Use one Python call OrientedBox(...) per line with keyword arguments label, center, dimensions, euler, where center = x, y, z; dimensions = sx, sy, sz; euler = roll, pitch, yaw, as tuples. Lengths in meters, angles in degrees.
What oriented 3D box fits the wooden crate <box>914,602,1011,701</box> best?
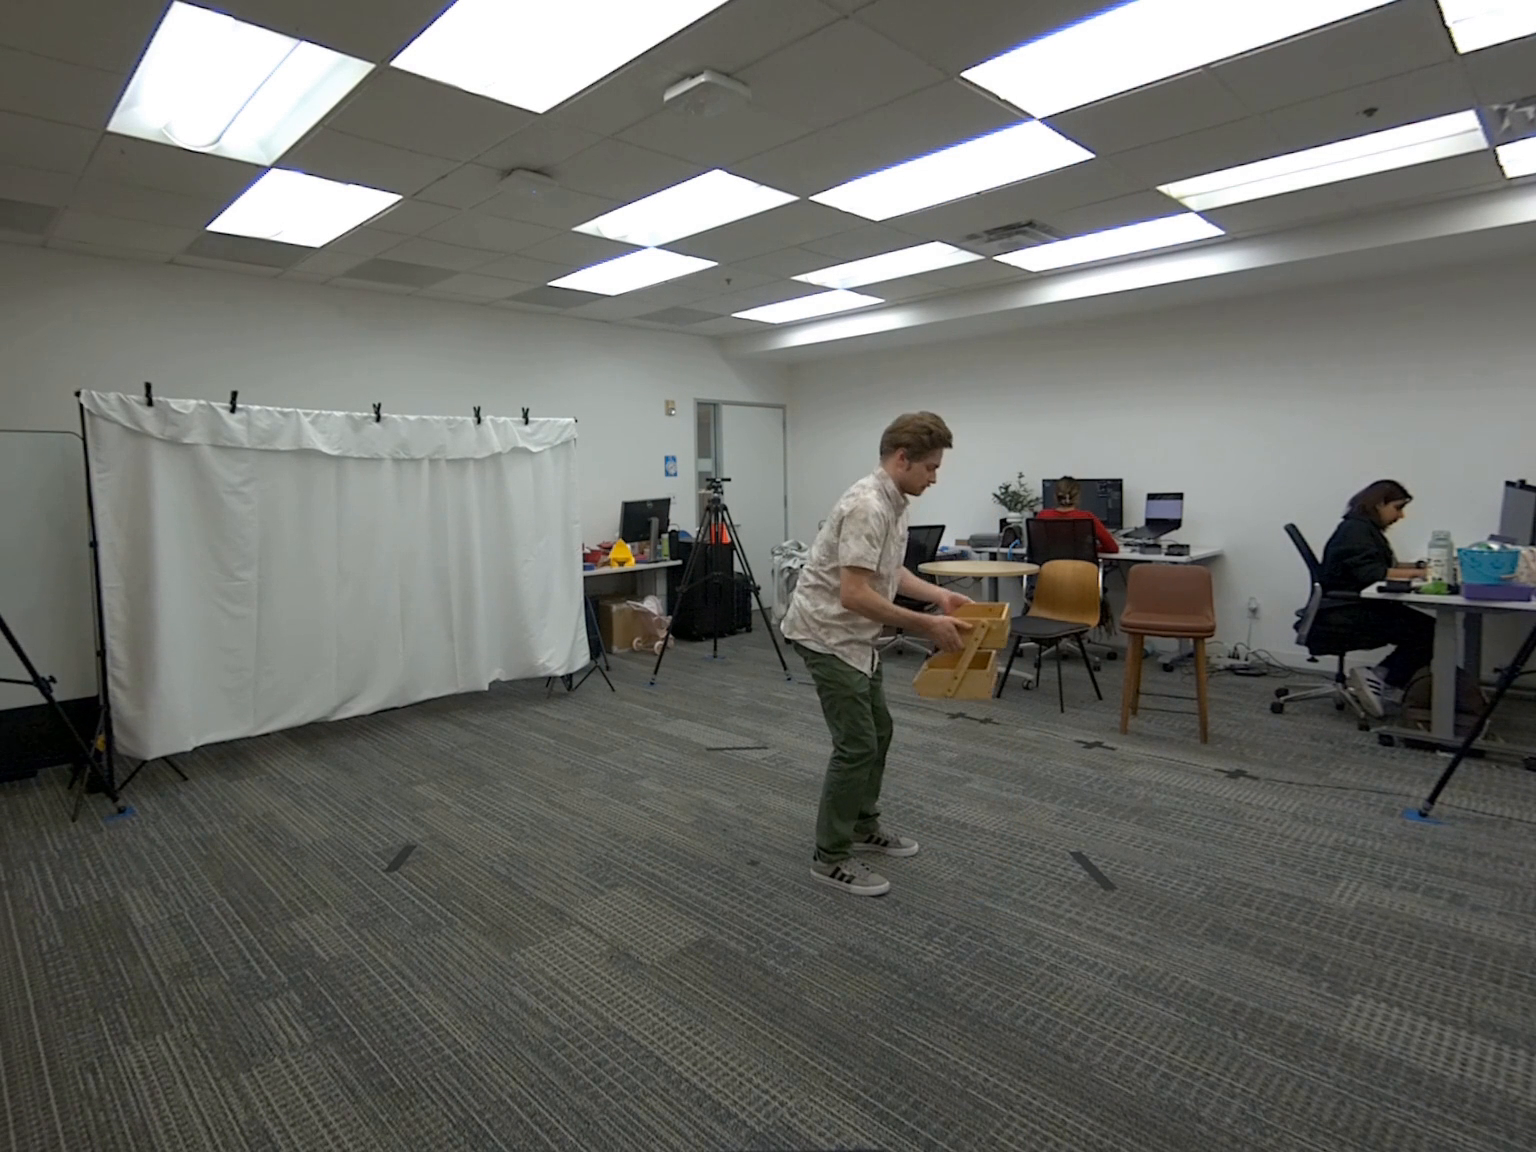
OrientedBox(label="wooden crate", center=(0.649, 0.245, 2.893), dimensions=(0.308, 0.272, 0.320), euler=(-2, 6, 21))
